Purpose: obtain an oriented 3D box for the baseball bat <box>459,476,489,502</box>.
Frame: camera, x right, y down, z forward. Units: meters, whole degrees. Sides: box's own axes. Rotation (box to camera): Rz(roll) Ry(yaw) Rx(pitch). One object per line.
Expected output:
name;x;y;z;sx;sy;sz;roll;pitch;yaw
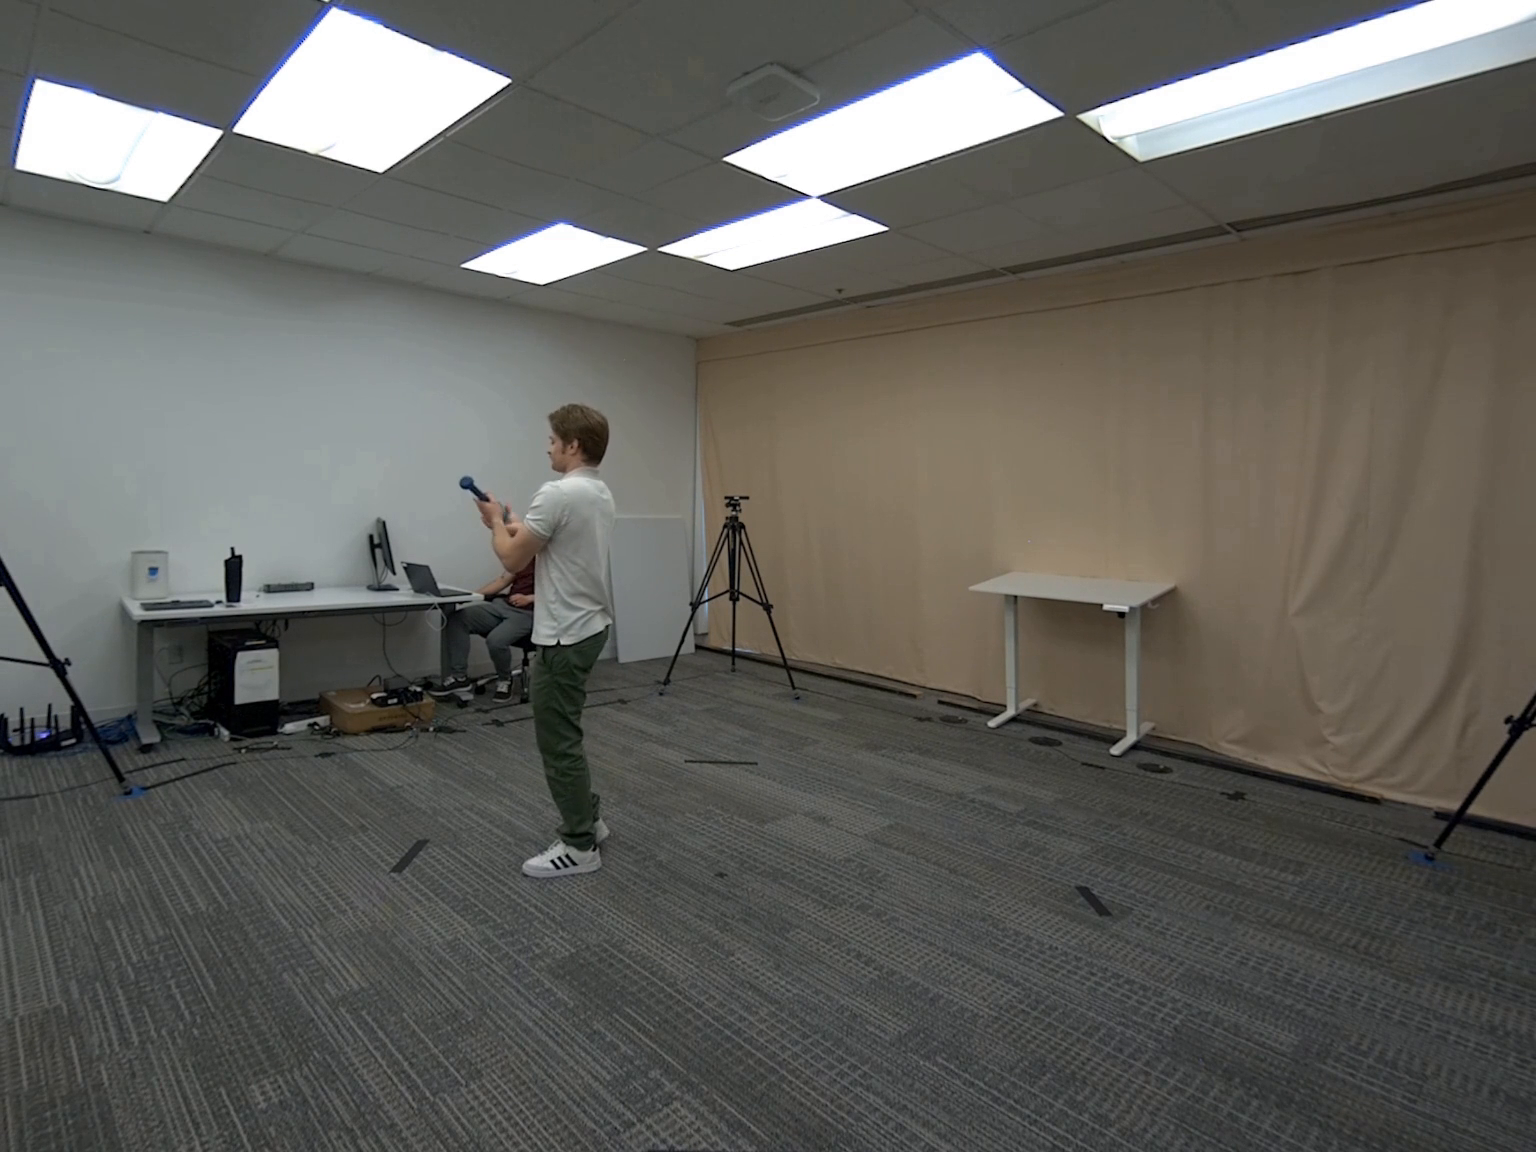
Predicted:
baseball bat;-1.072;-0.266;3.254;0.089;0.090;0.535;2;-15;3
